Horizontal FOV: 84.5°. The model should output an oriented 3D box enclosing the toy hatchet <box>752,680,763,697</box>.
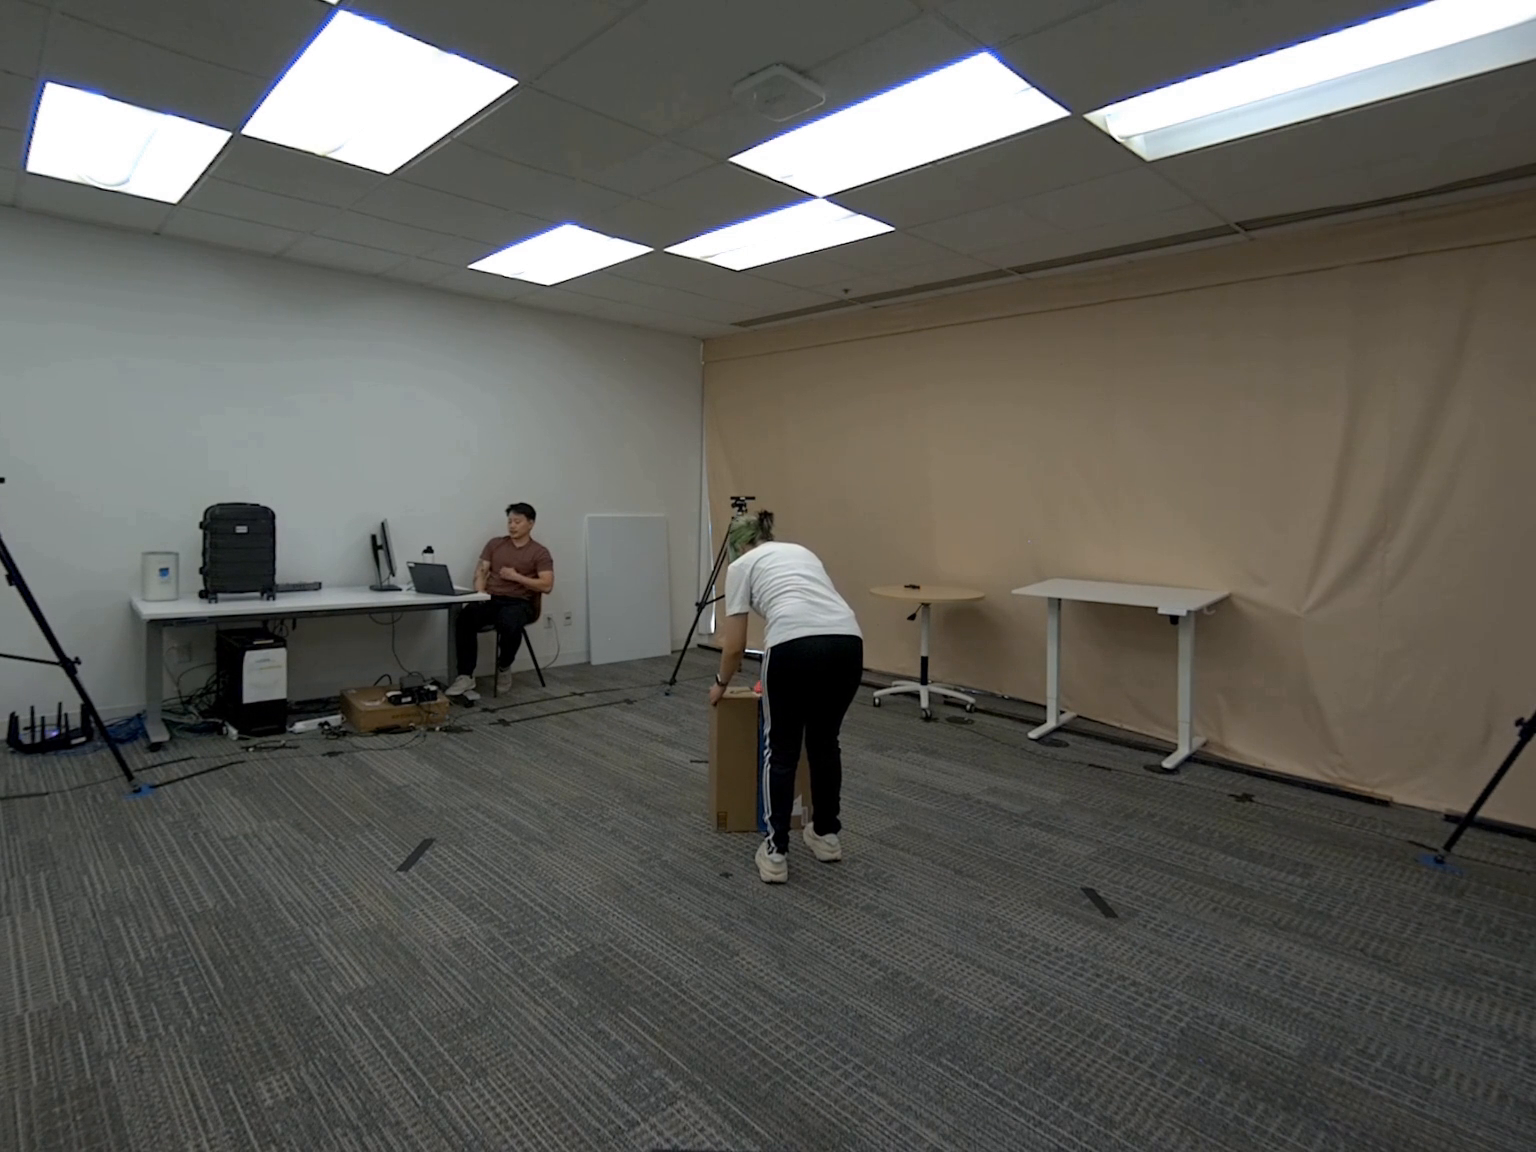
[{"bbox_3d":[-0.018,0.498,3.535,0.131,0.029,0.274,-29,19,10],"label":"toy hatchet"}]
